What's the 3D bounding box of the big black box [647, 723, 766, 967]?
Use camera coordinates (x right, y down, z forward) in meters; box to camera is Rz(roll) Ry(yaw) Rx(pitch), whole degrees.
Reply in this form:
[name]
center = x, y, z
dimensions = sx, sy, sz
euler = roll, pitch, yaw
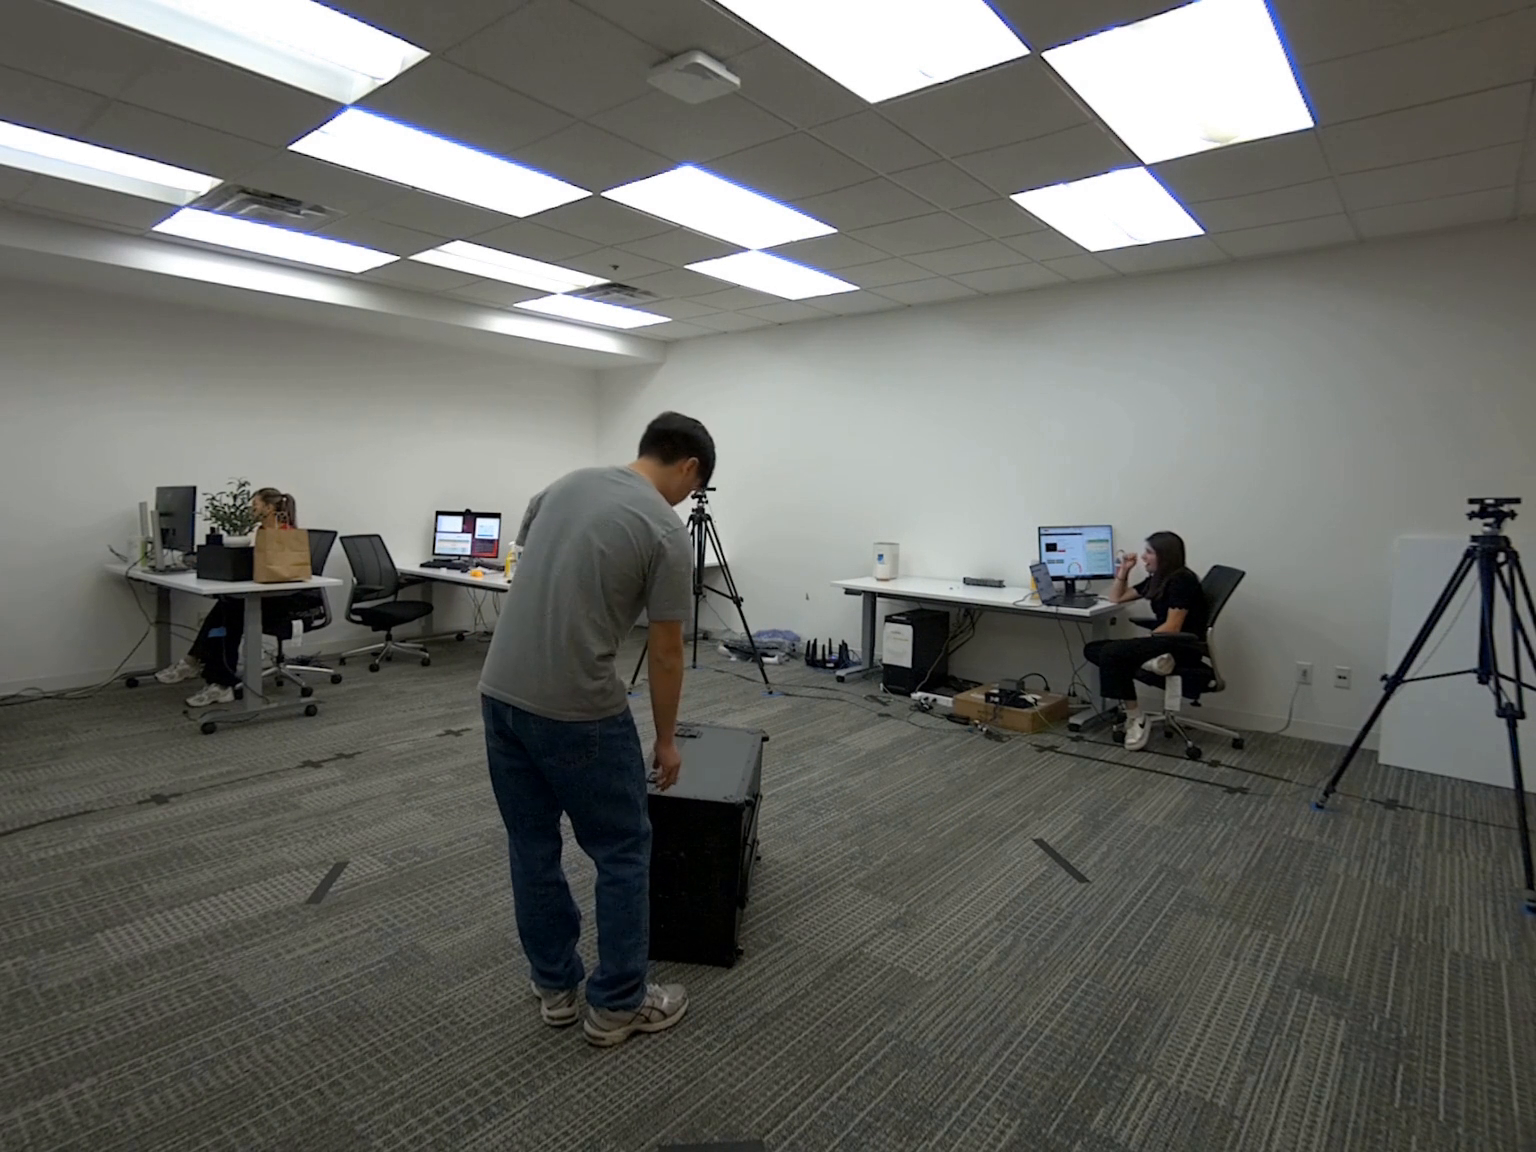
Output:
[big black box]
center = -0.232, 0.842, 2.820
dimensions = 0.399, 0.519, 0.858
euler = 3, 5, 5
